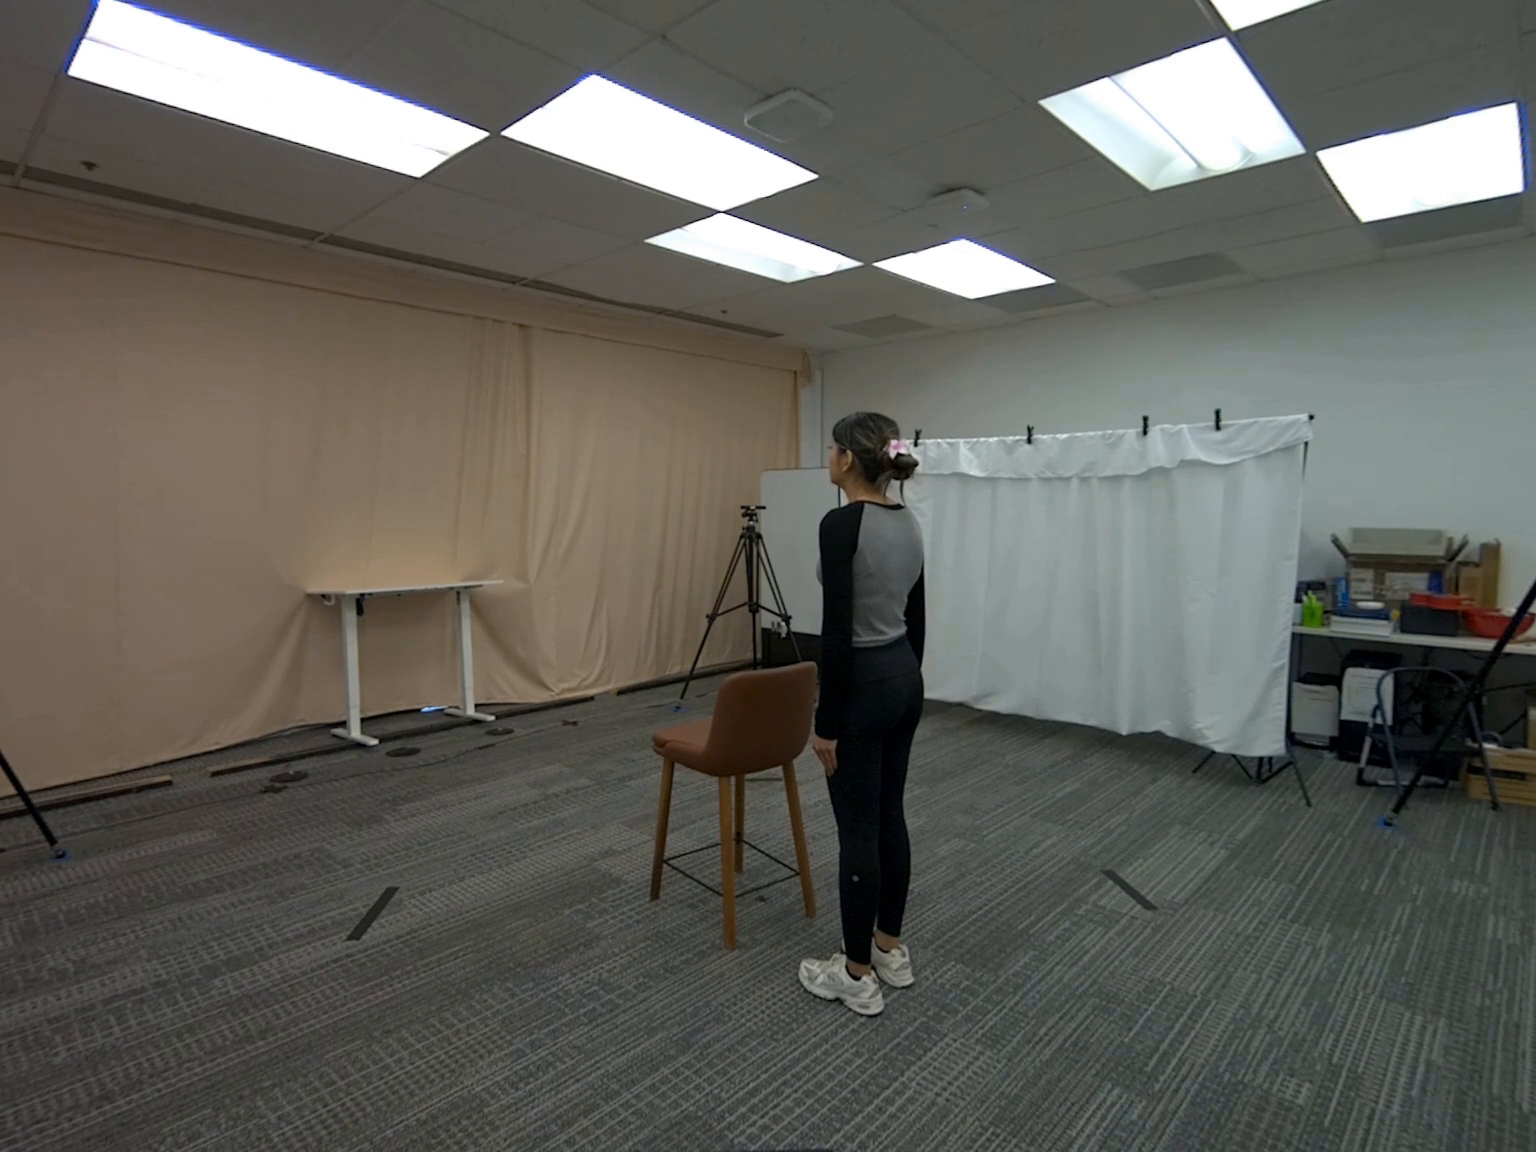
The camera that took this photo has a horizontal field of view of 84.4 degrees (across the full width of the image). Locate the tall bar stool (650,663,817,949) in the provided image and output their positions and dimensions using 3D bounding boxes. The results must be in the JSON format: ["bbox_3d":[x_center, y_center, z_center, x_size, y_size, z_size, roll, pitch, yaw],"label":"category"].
[{"bbox_3d":[-0.116,0.713,2.892,0.443,0.887,0.483,-3,7,-38],"label":"tall bar stool"}]
